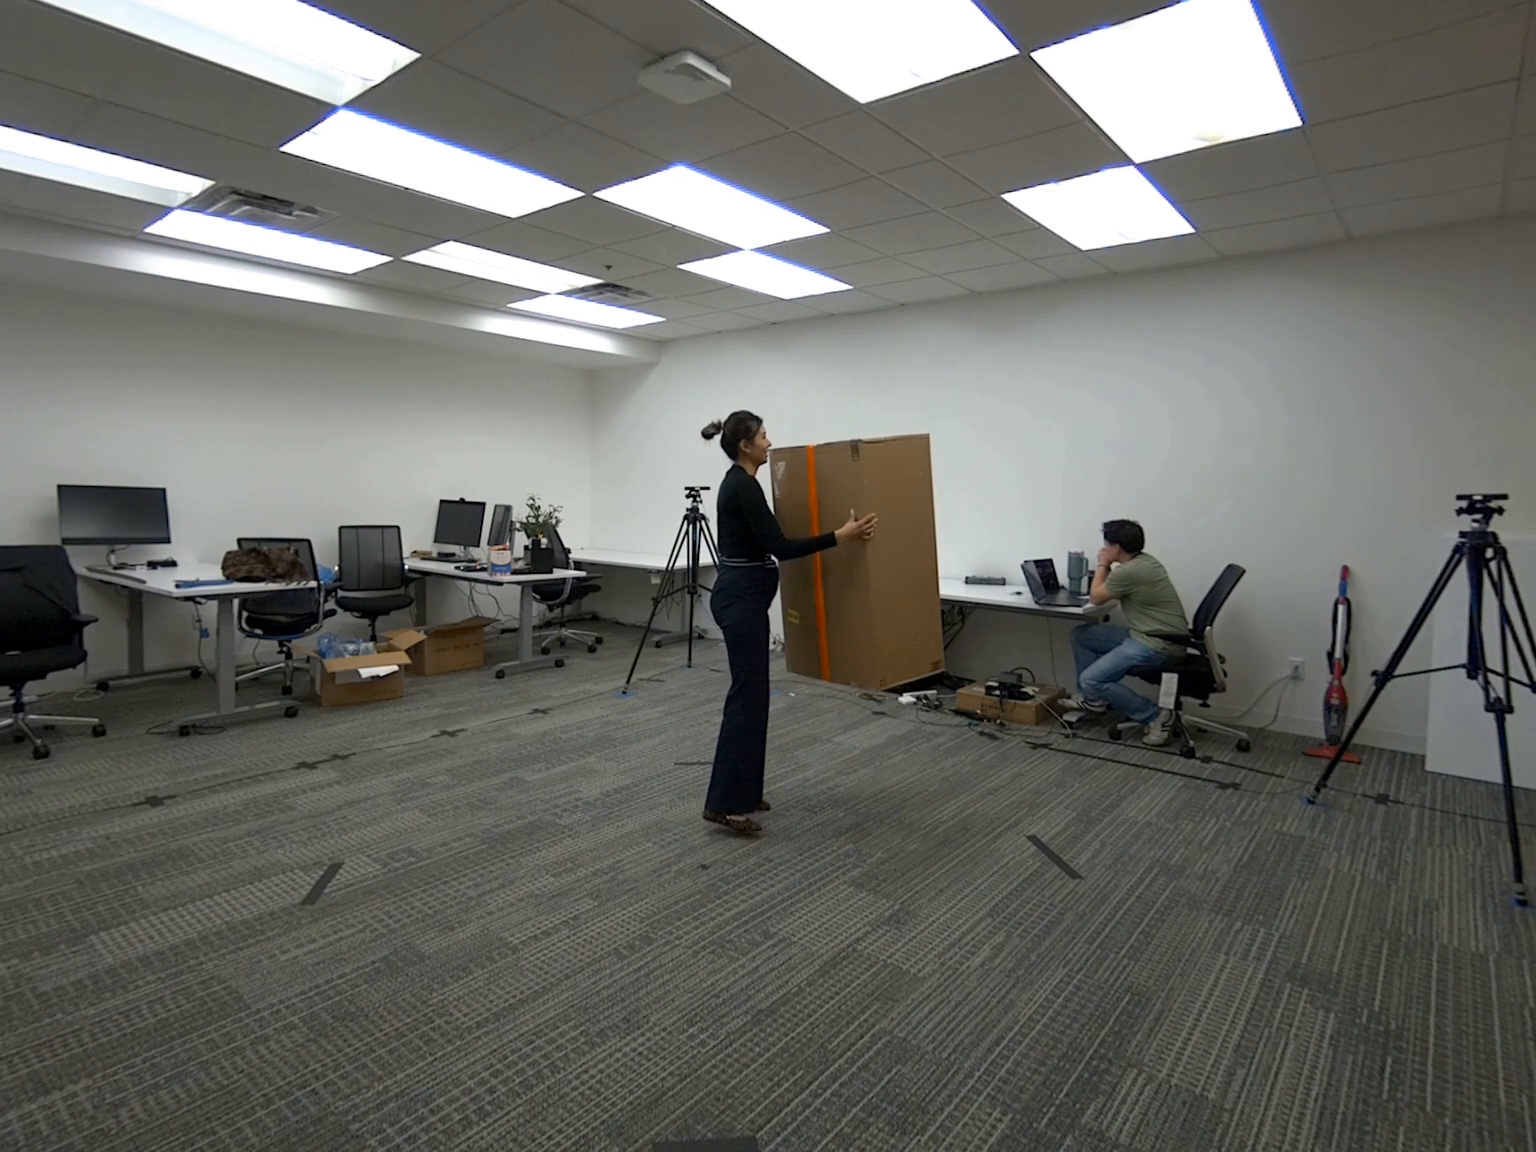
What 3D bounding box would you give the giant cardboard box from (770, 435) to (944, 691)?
[{"bbox_3d":[0.378,-0.082,3.737,0.415,1.021,0.595,-8,6,-36],"label":"giant cardboard box"}]
